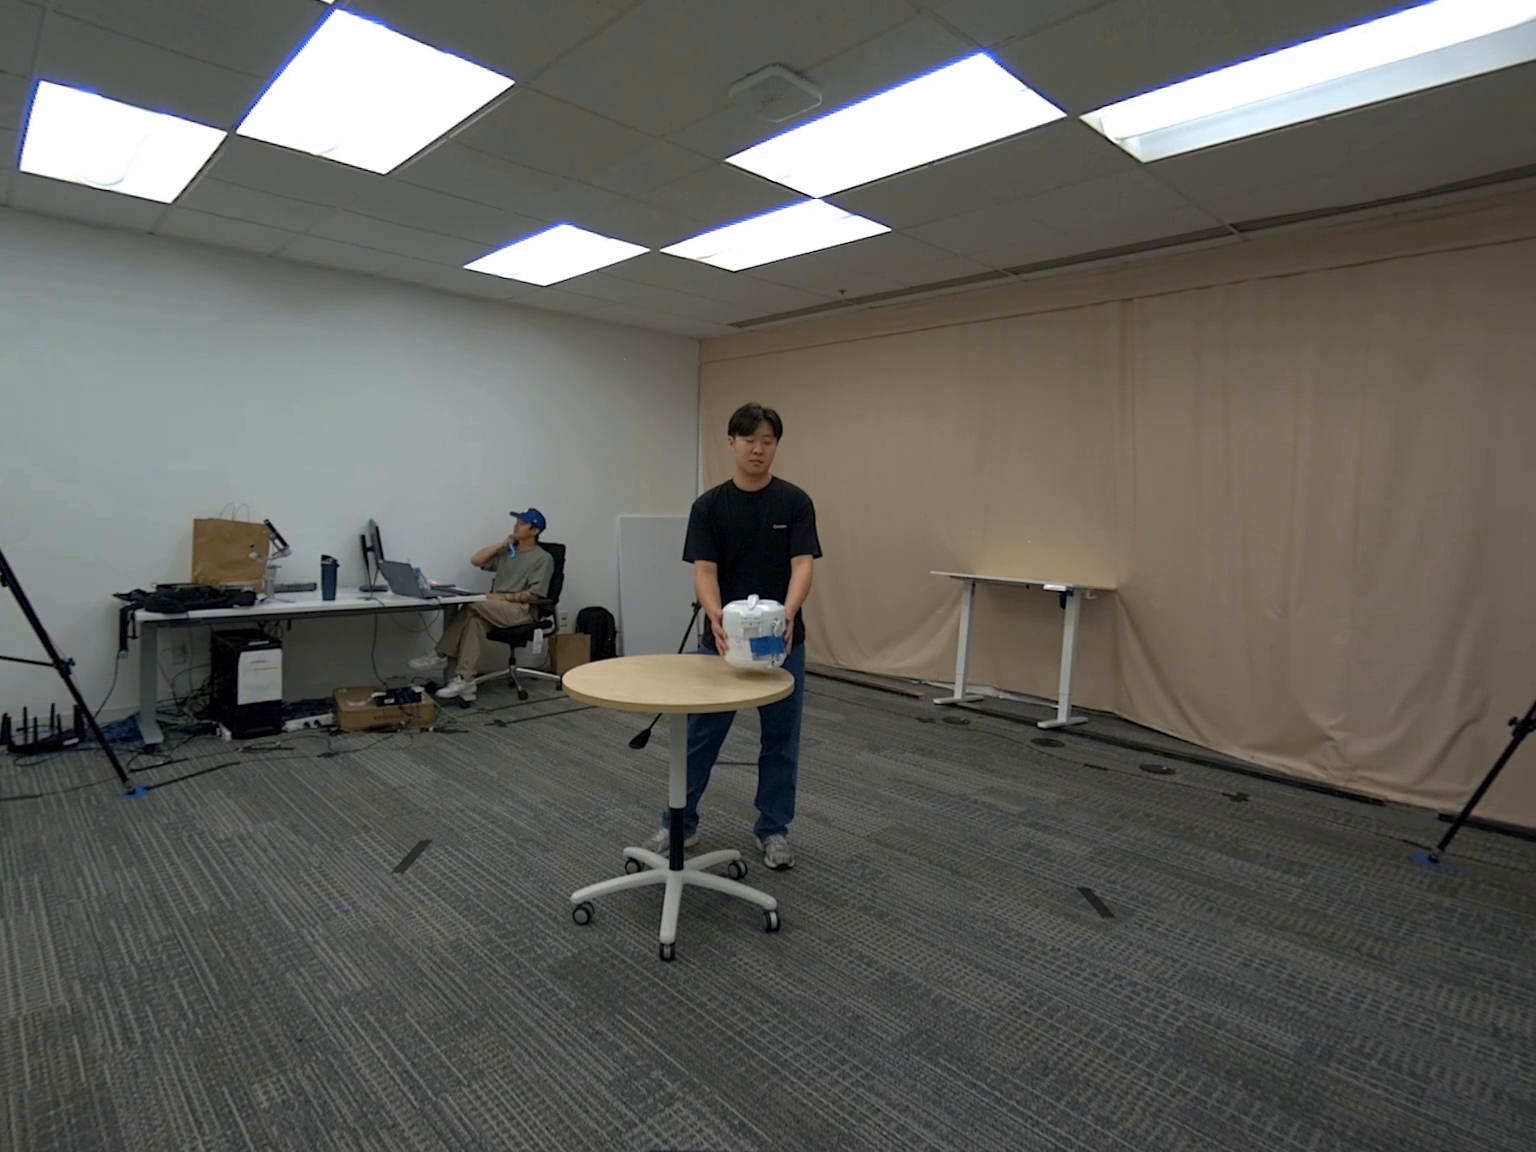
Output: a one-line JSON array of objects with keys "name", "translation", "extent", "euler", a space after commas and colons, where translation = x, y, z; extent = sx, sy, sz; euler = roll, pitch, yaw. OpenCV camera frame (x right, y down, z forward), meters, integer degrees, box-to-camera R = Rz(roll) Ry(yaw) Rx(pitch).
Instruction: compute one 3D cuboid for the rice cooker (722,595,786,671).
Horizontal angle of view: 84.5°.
[{"name": "rice cooker", "translation": [-0.060, 0.179, 2.801], "extent": [0.218, 0.232, 0.220], "euler": [-3, 4, 5]}]
